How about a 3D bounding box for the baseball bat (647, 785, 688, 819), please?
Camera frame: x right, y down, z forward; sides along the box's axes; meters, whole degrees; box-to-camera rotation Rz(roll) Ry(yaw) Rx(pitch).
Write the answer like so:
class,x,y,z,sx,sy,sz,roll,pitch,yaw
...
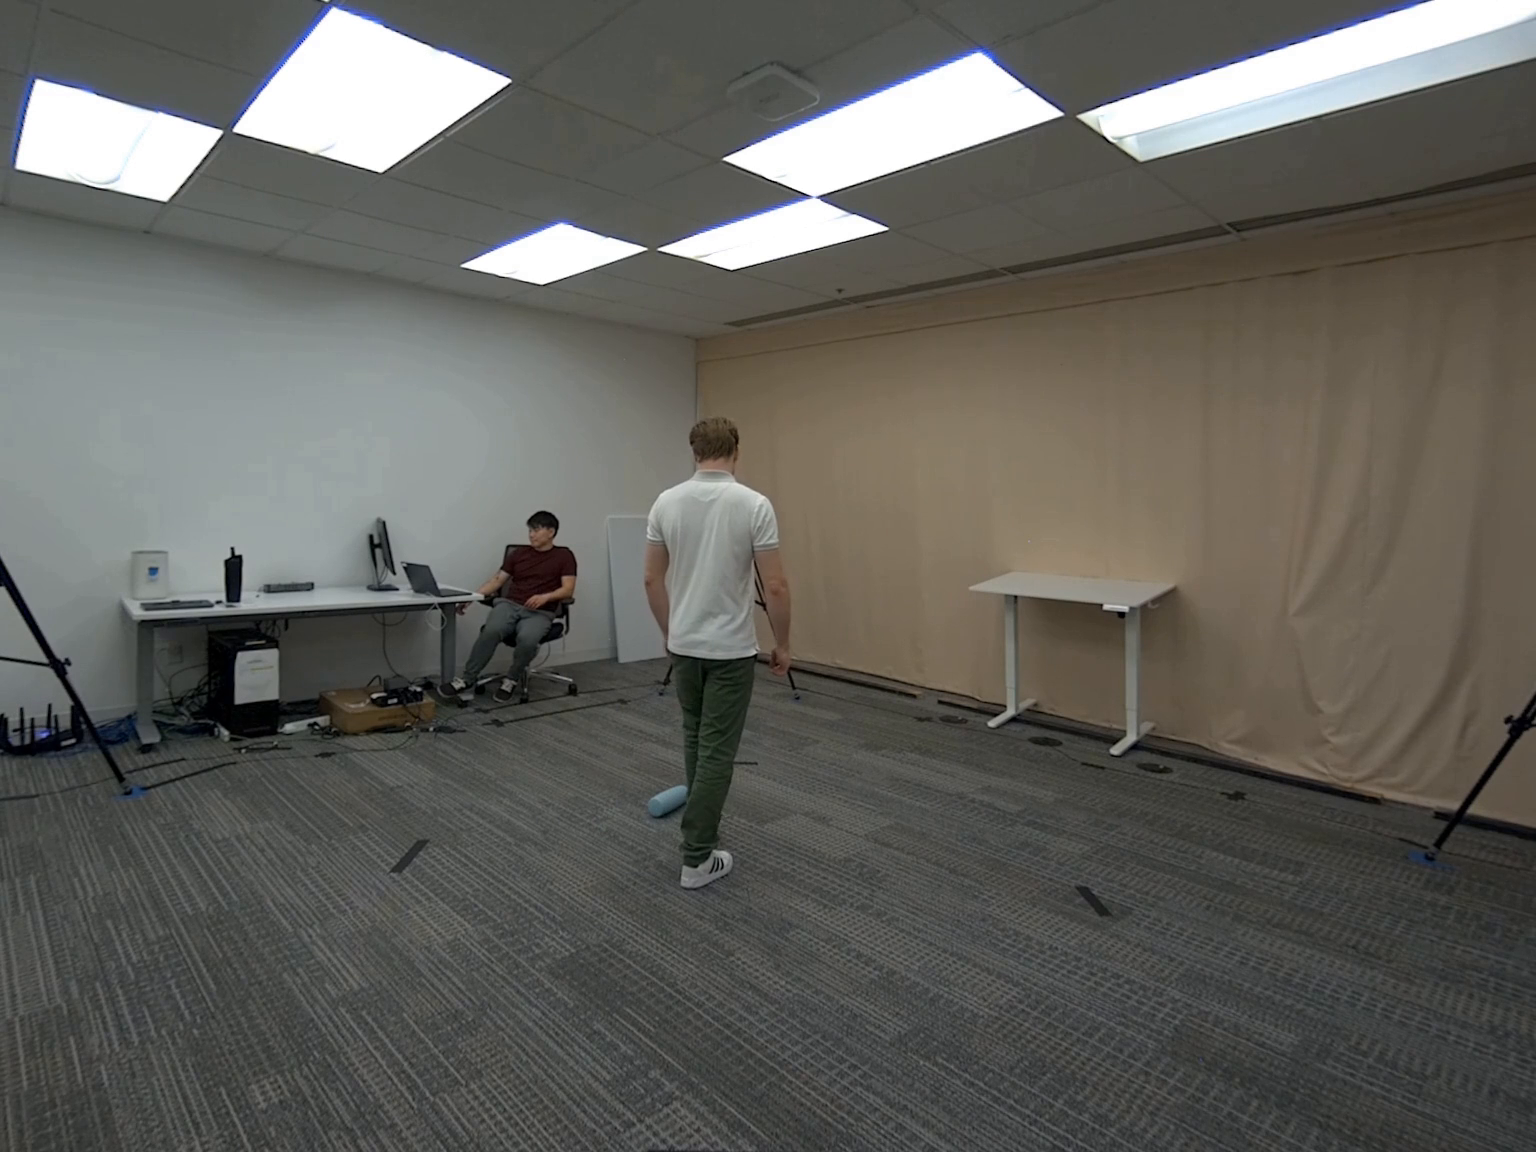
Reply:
class,x,y,z,sx,sy,sz,roll,pitch,yaw
baseball bat,-0.391,0.998,3.874,0.091,0.089,0.533,3,2,23
